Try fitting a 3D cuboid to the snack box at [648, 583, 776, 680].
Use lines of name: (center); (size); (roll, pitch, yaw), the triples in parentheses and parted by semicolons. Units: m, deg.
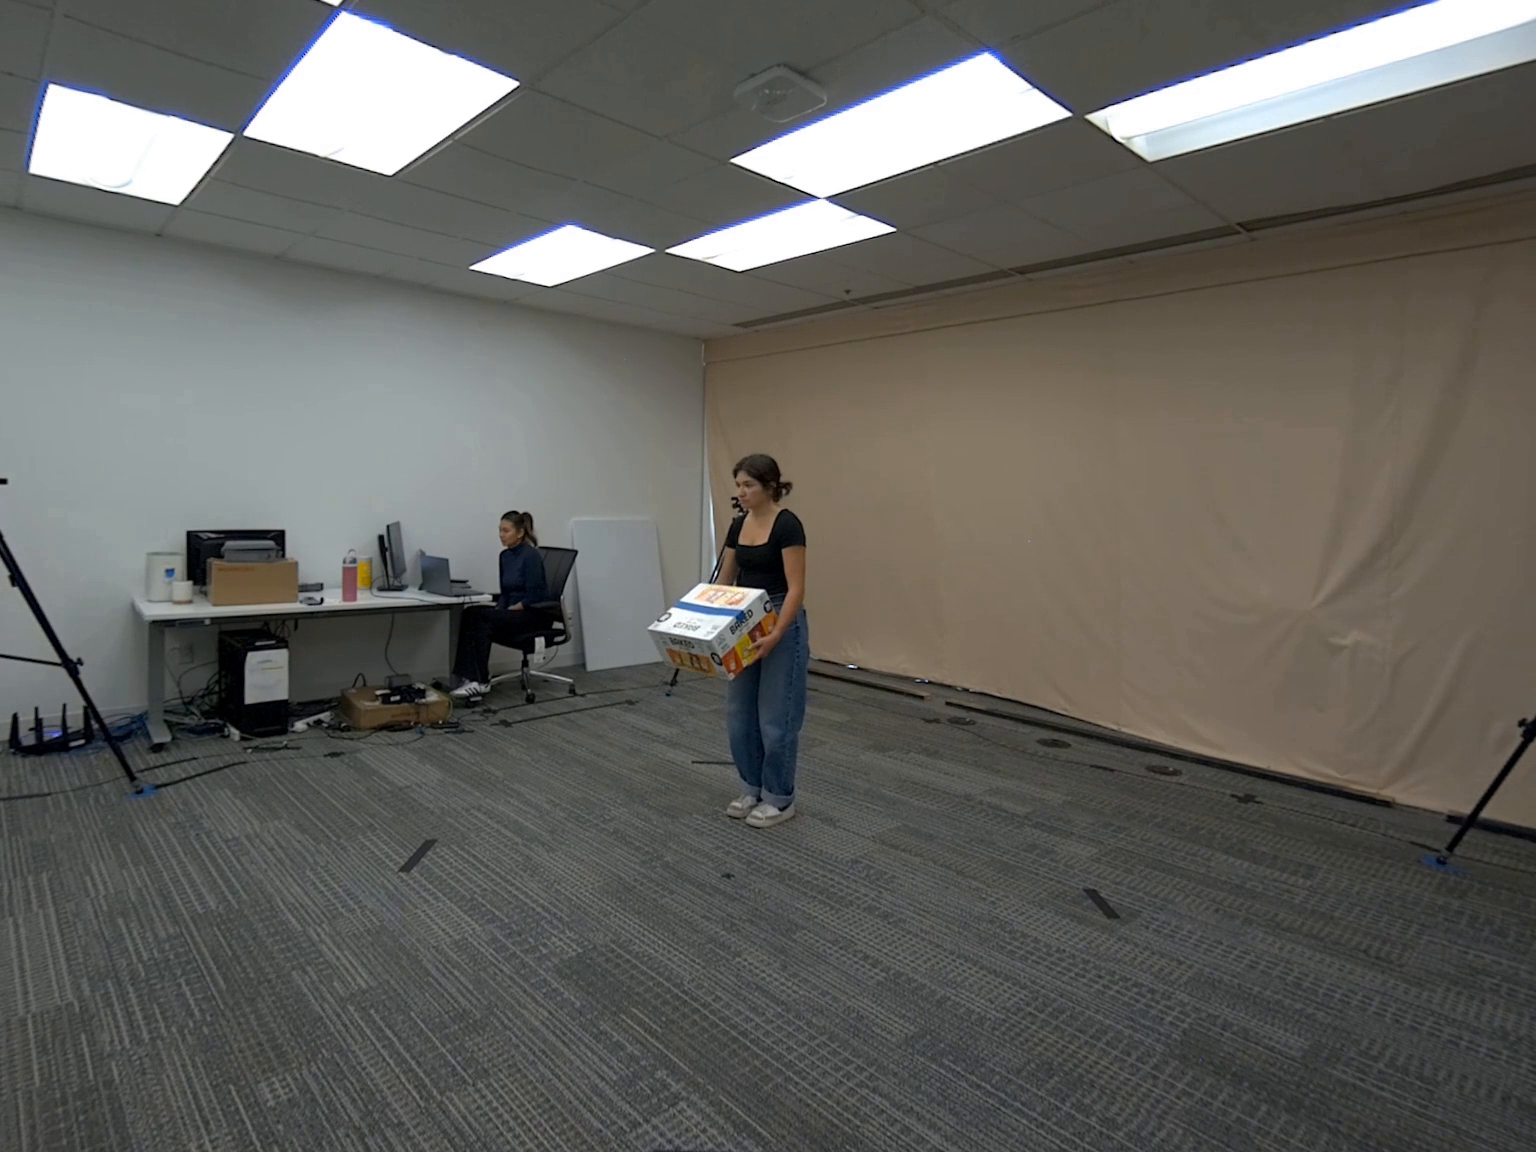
snack box: (-0.234, 0.209, 3.474); (0.415, 0.201, 0.339); (5, 36, 46)
